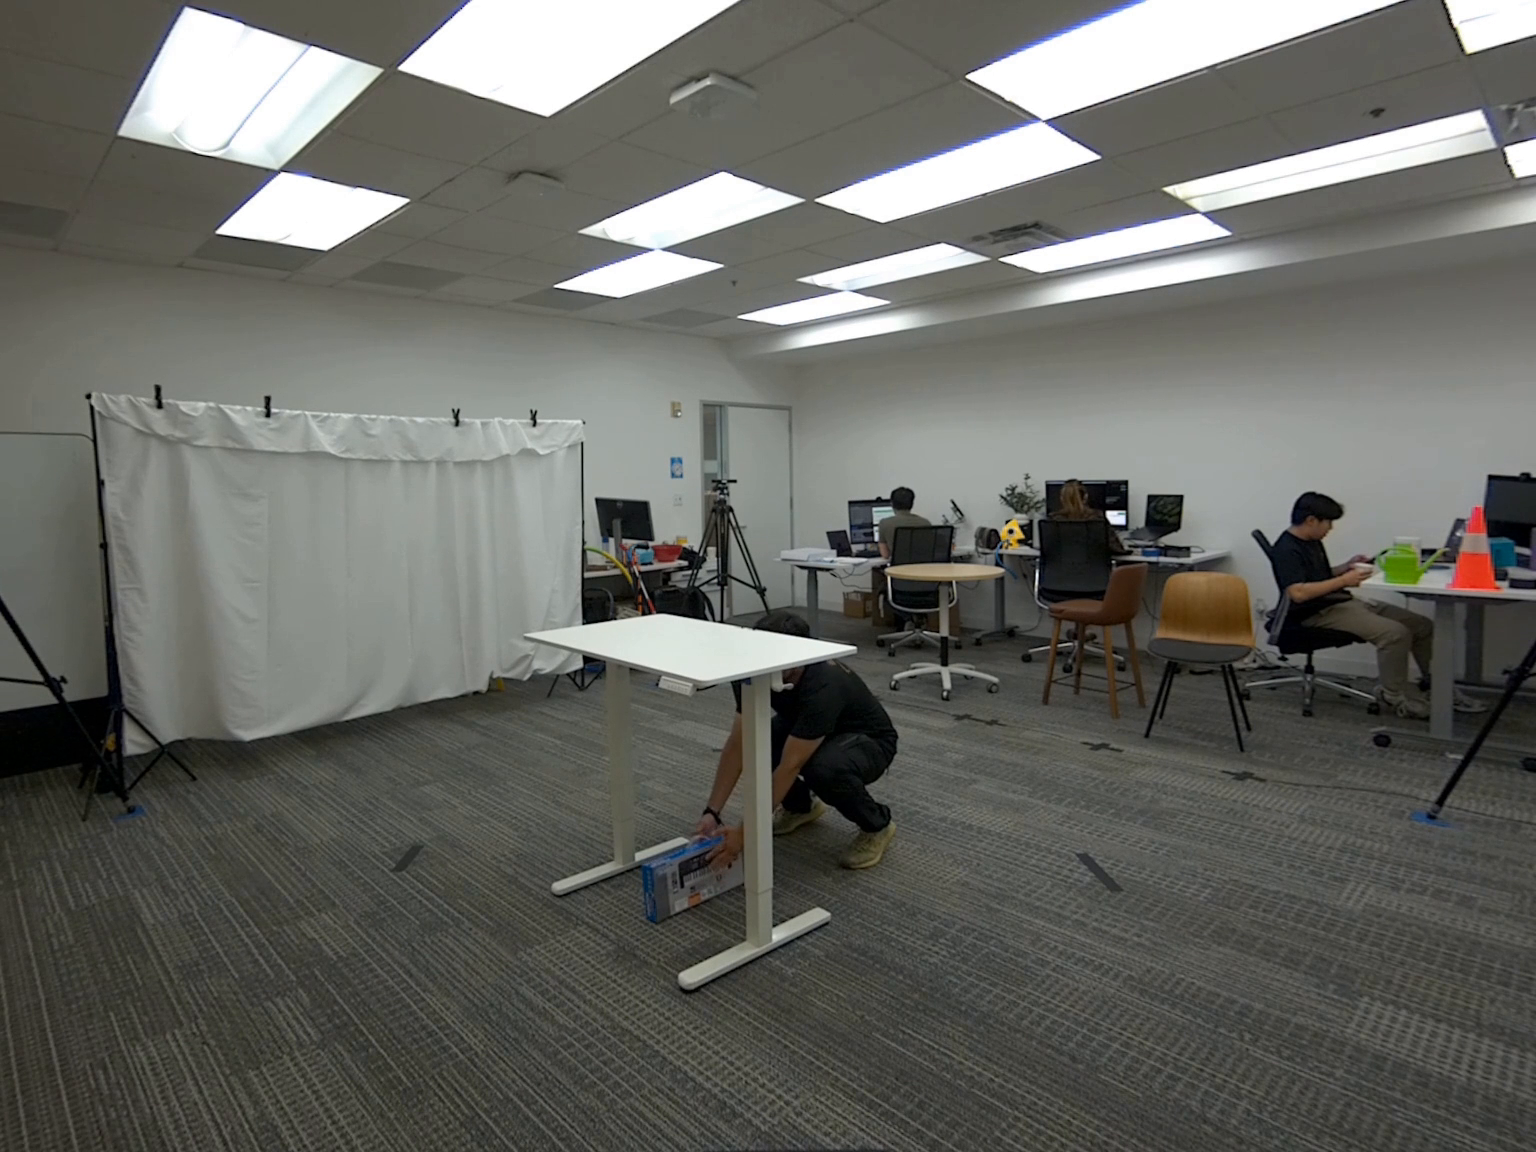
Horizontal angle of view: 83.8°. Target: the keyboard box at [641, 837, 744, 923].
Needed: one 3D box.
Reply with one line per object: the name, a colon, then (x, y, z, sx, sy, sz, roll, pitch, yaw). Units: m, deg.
keyboard box: (-0.222, 0.991, 2.860, 0.425, 0.176, 0.060, -7, 1, -42)
